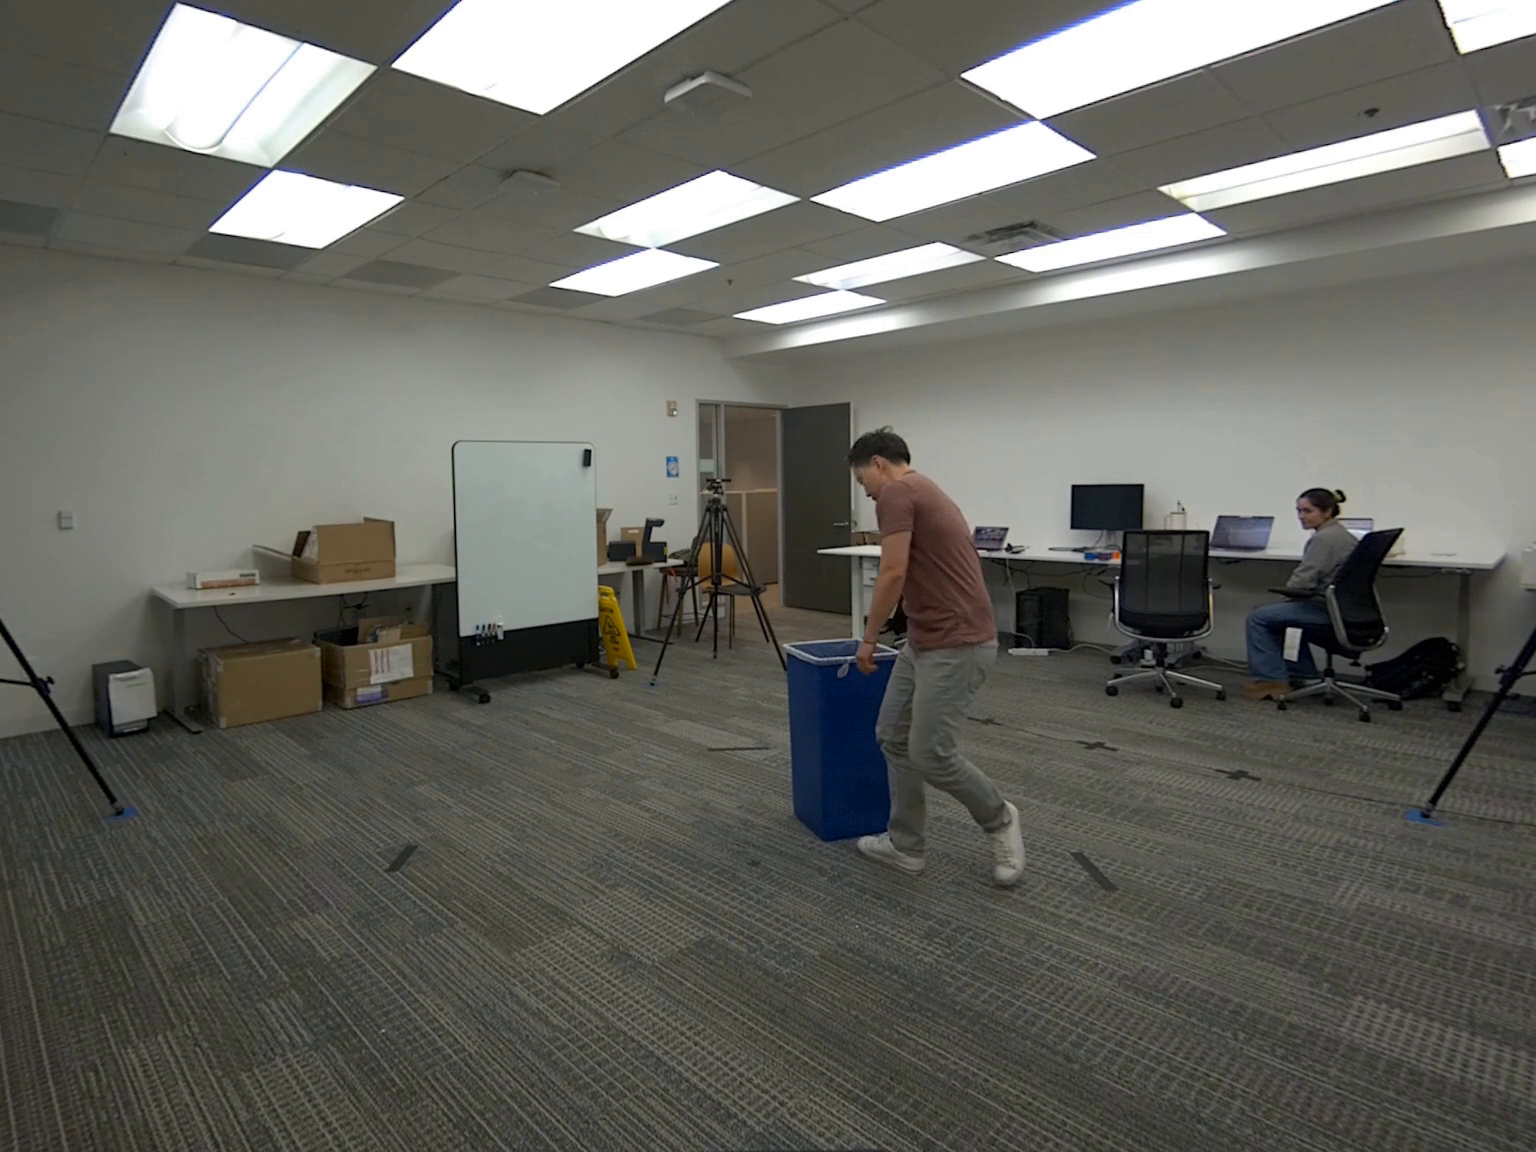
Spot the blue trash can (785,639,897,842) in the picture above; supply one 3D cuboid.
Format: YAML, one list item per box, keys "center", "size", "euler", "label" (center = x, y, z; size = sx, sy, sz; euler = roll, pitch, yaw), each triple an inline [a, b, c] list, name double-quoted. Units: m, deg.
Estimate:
- center: [0.288, 0.641, 3.448]
  size: [0.371, 0.711, 0.382]
  euler: [-2, 4, -21]
  label: "blue trash can"
